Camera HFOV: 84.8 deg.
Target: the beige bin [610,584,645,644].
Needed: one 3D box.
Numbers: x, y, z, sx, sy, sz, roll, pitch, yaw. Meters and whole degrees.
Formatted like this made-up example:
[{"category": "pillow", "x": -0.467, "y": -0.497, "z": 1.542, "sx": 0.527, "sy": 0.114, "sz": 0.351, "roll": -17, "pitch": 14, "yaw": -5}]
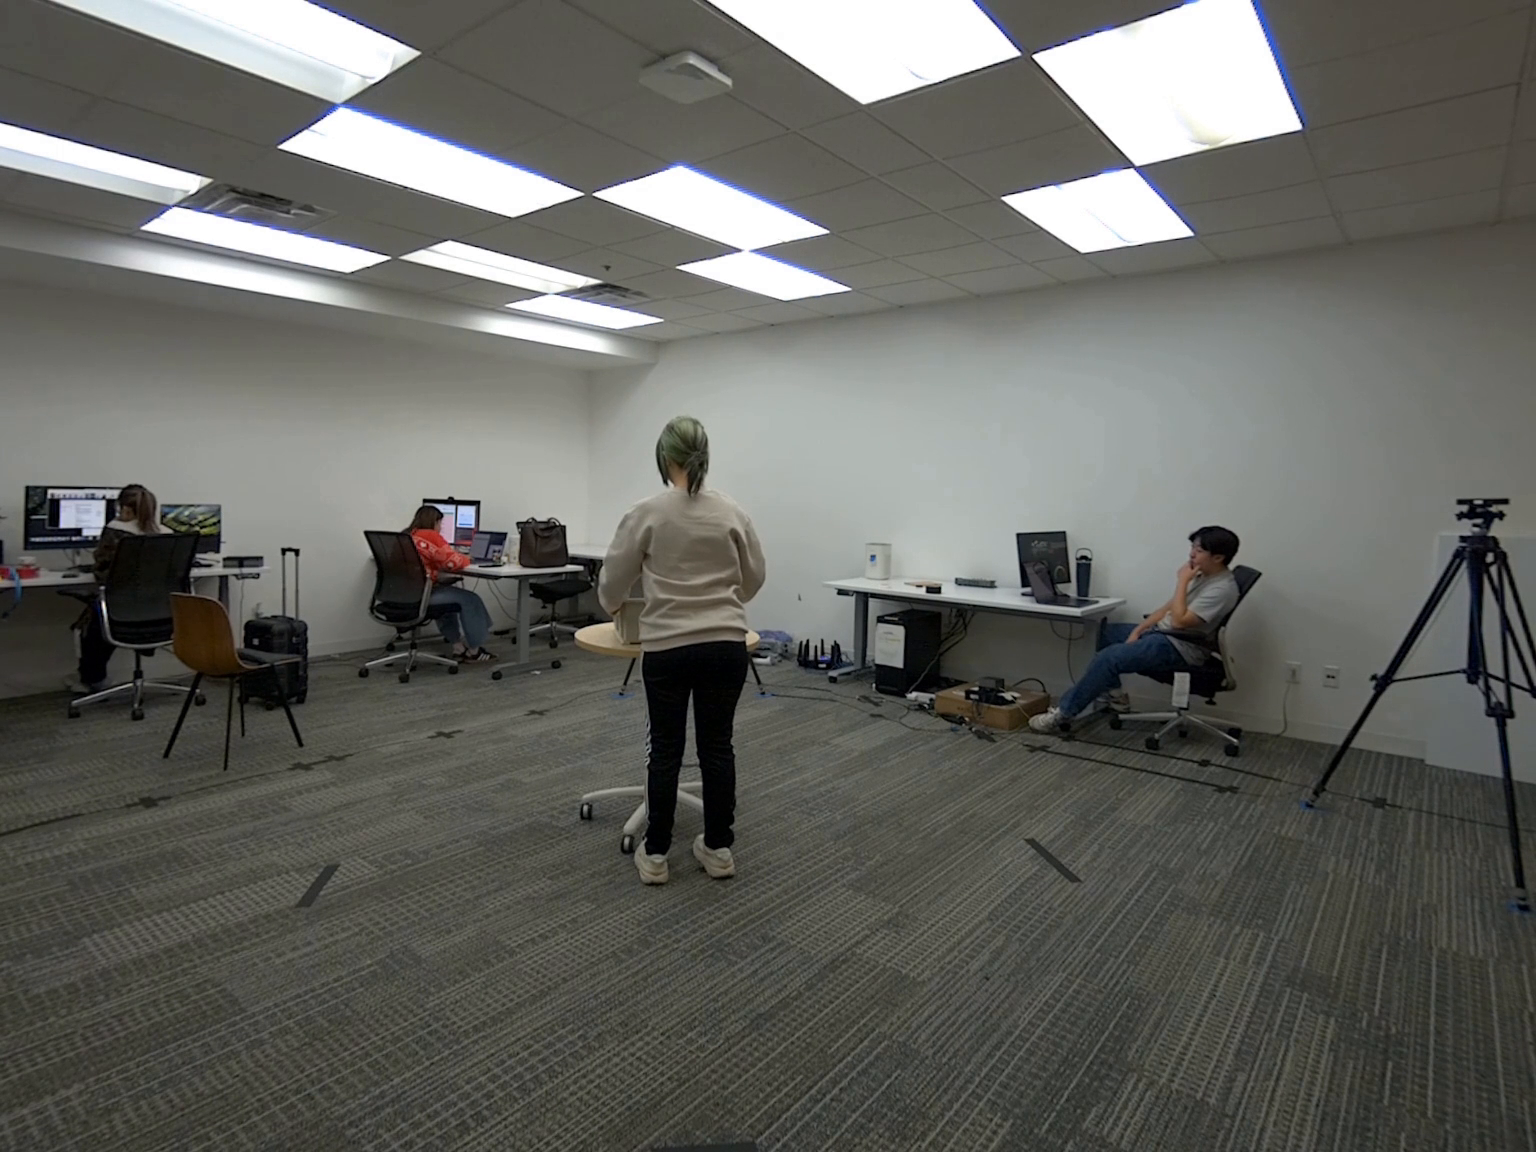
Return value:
[{"category": "beige bin", "x": -0.421, "y": 0.149, "z": 3.492, "sx": 0.416, "sy": 0.188, "sz": 0.384, "roll": 0, "pitch": 4, "yaw": -15}]
